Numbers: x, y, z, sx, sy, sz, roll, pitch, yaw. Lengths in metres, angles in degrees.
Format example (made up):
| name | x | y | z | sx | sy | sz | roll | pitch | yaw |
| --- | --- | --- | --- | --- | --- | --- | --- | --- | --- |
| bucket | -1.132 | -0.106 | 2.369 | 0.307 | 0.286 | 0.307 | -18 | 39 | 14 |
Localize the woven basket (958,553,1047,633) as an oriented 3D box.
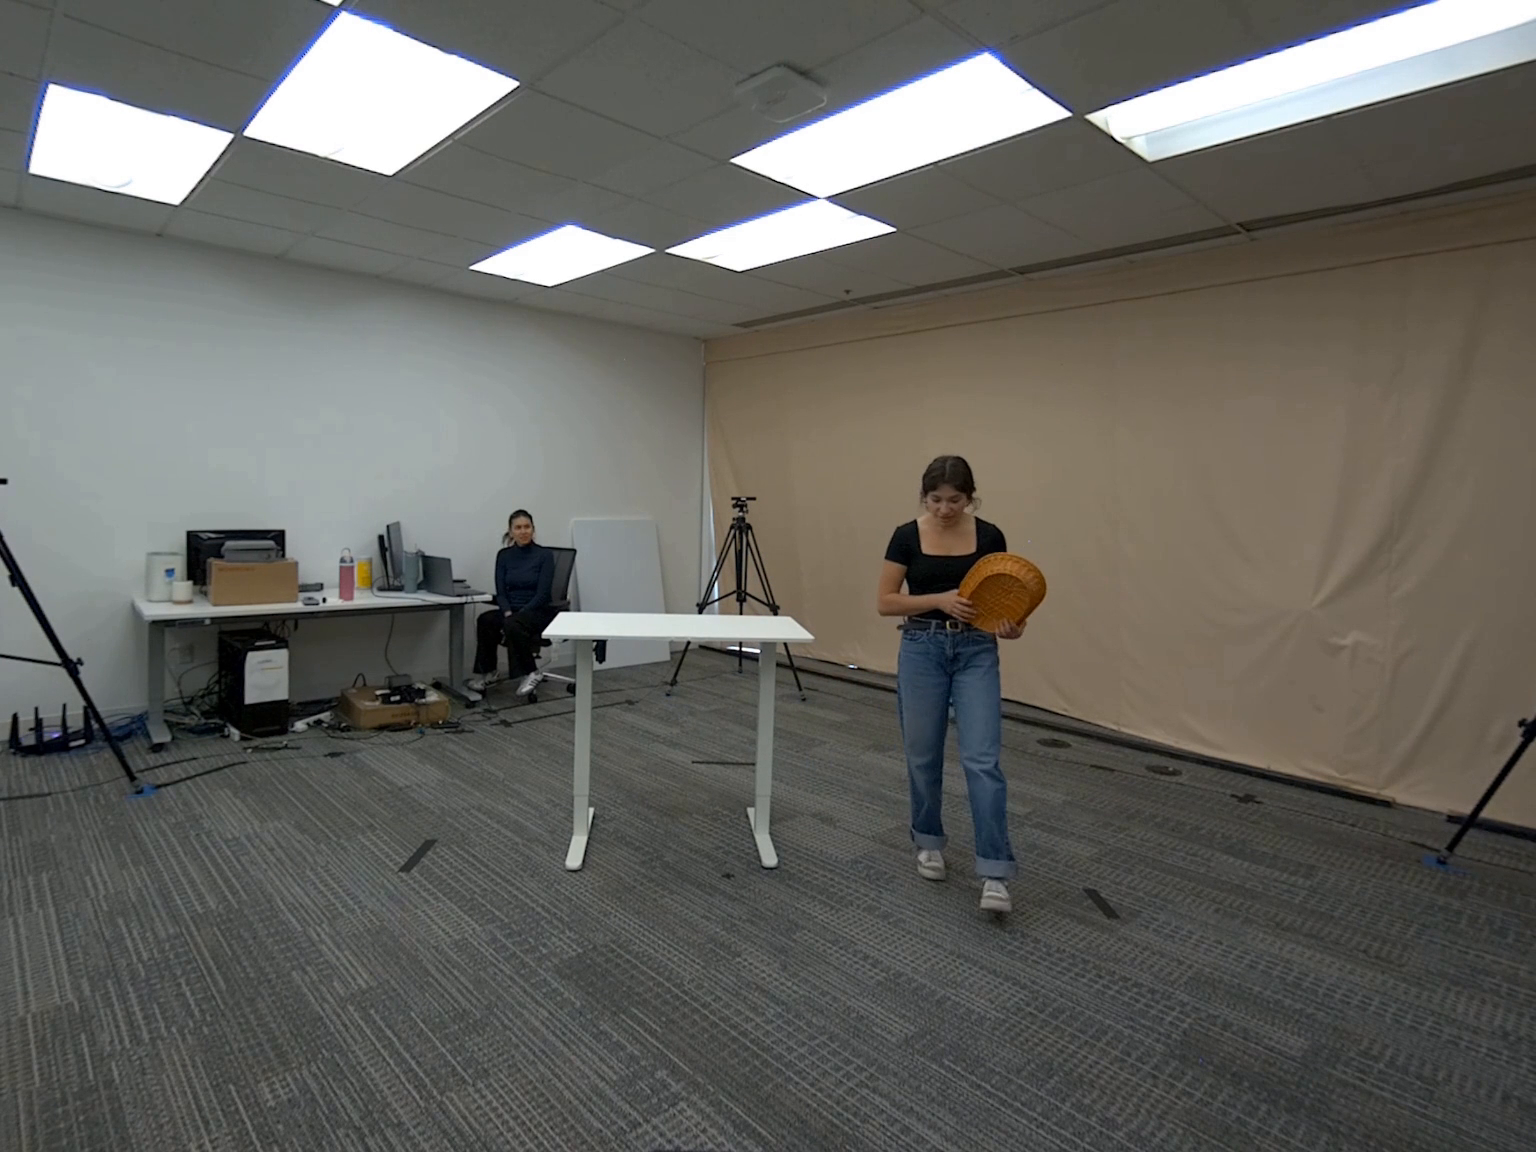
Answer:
| name | x | y | z | sx | sy | sz | roll | pitch | yaw |
| --- | --- | --- | --- | --- | --- | --- | --- | --- | --- |
| woven basket | 0.776 | 0.082 | 2.857 | 0.256 | 0.345 | 0.073 | 29 | 48 | 12 |
